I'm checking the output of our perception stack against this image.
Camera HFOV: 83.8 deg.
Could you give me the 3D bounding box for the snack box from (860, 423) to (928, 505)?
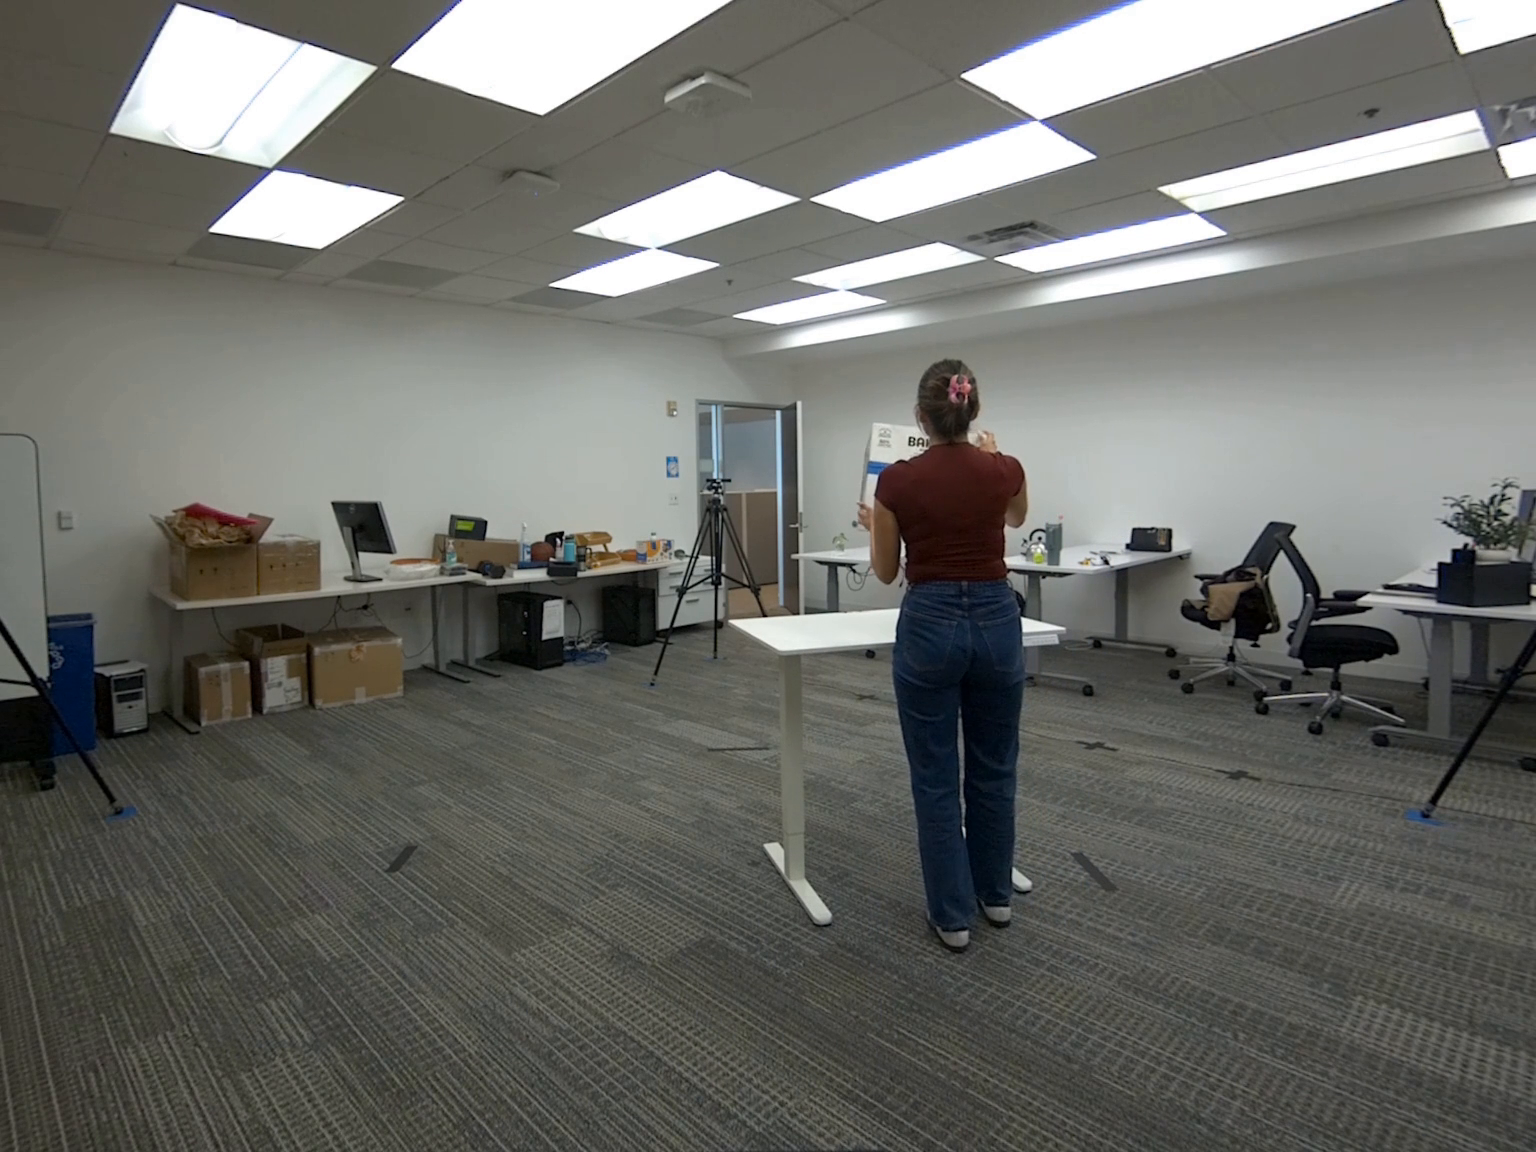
[{"bbox_3d":[0.548,-0.320,3.021,0.408,0.345,0.201,7,-17,6],"label":"snack box"}]
